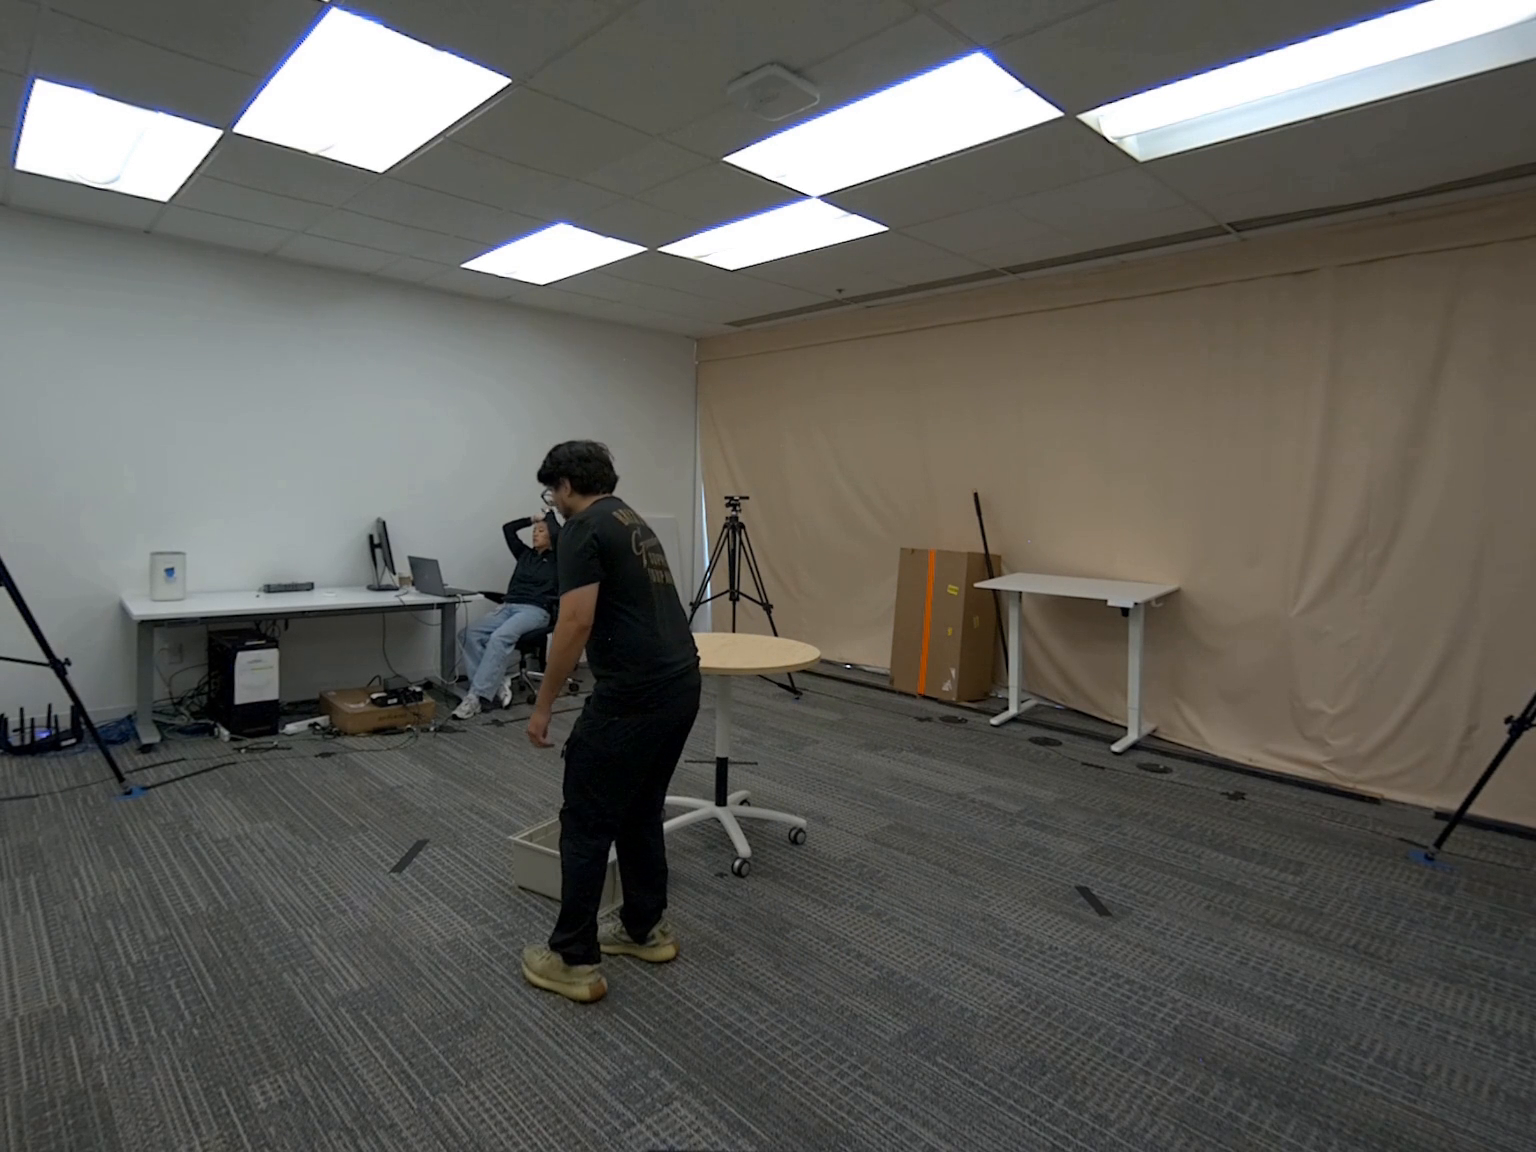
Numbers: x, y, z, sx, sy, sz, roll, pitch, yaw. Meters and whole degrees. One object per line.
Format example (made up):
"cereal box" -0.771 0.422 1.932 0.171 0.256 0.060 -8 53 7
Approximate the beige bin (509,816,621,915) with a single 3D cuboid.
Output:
"beige bin" -0.651 1.014 3.016 0.432 0.188 0.370 5 7 30
